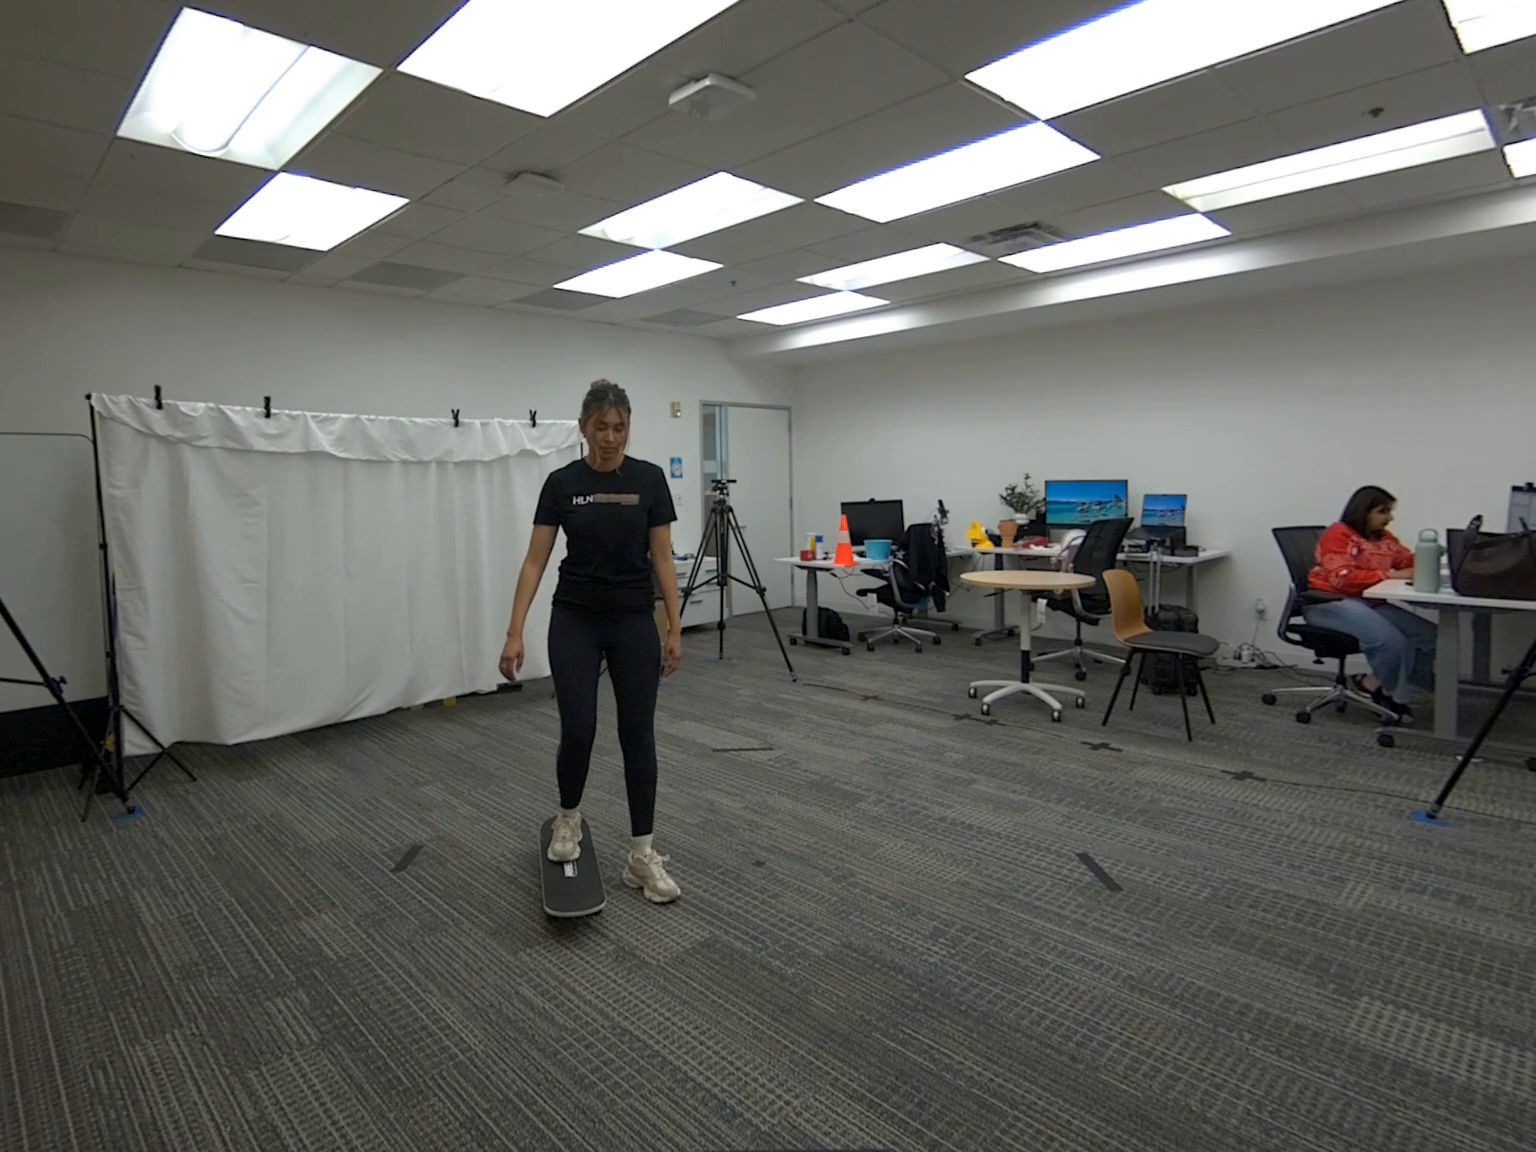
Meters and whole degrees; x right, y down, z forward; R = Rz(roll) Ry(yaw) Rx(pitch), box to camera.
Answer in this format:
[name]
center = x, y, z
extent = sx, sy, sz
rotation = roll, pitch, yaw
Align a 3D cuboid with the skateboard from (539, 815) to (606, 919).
[skateboard]
center = -0.676, 1.025, 2.945
extent = 0.191, 0.110, 0.800
rotation = -3, 7, -16
